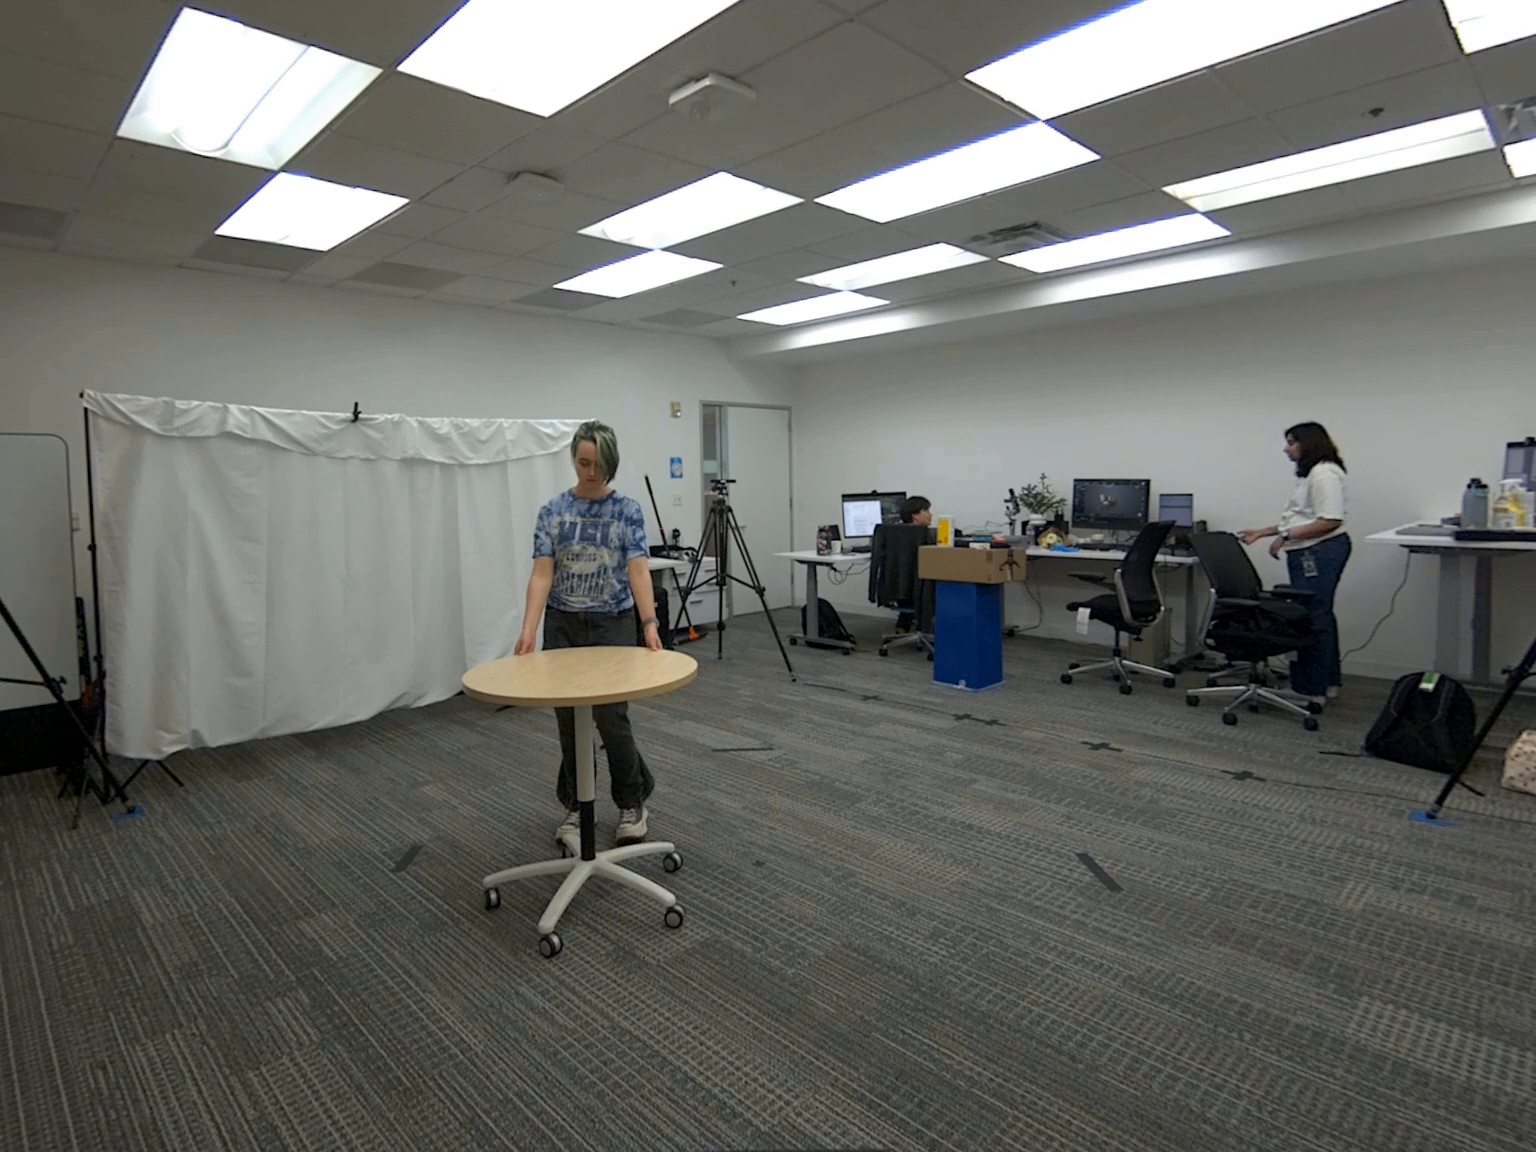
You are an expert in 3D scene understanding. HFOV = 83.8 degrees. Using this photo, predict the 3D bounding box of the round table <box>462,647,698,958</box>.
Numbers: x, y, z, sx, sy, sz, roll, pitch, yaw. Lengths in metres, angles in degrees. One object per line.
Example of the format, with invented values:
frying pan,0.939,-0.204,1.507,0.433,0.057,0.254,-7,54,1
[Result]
round table,-0.592,0.700,2.844,0.763,0.791,0.768,-2,5,-2
